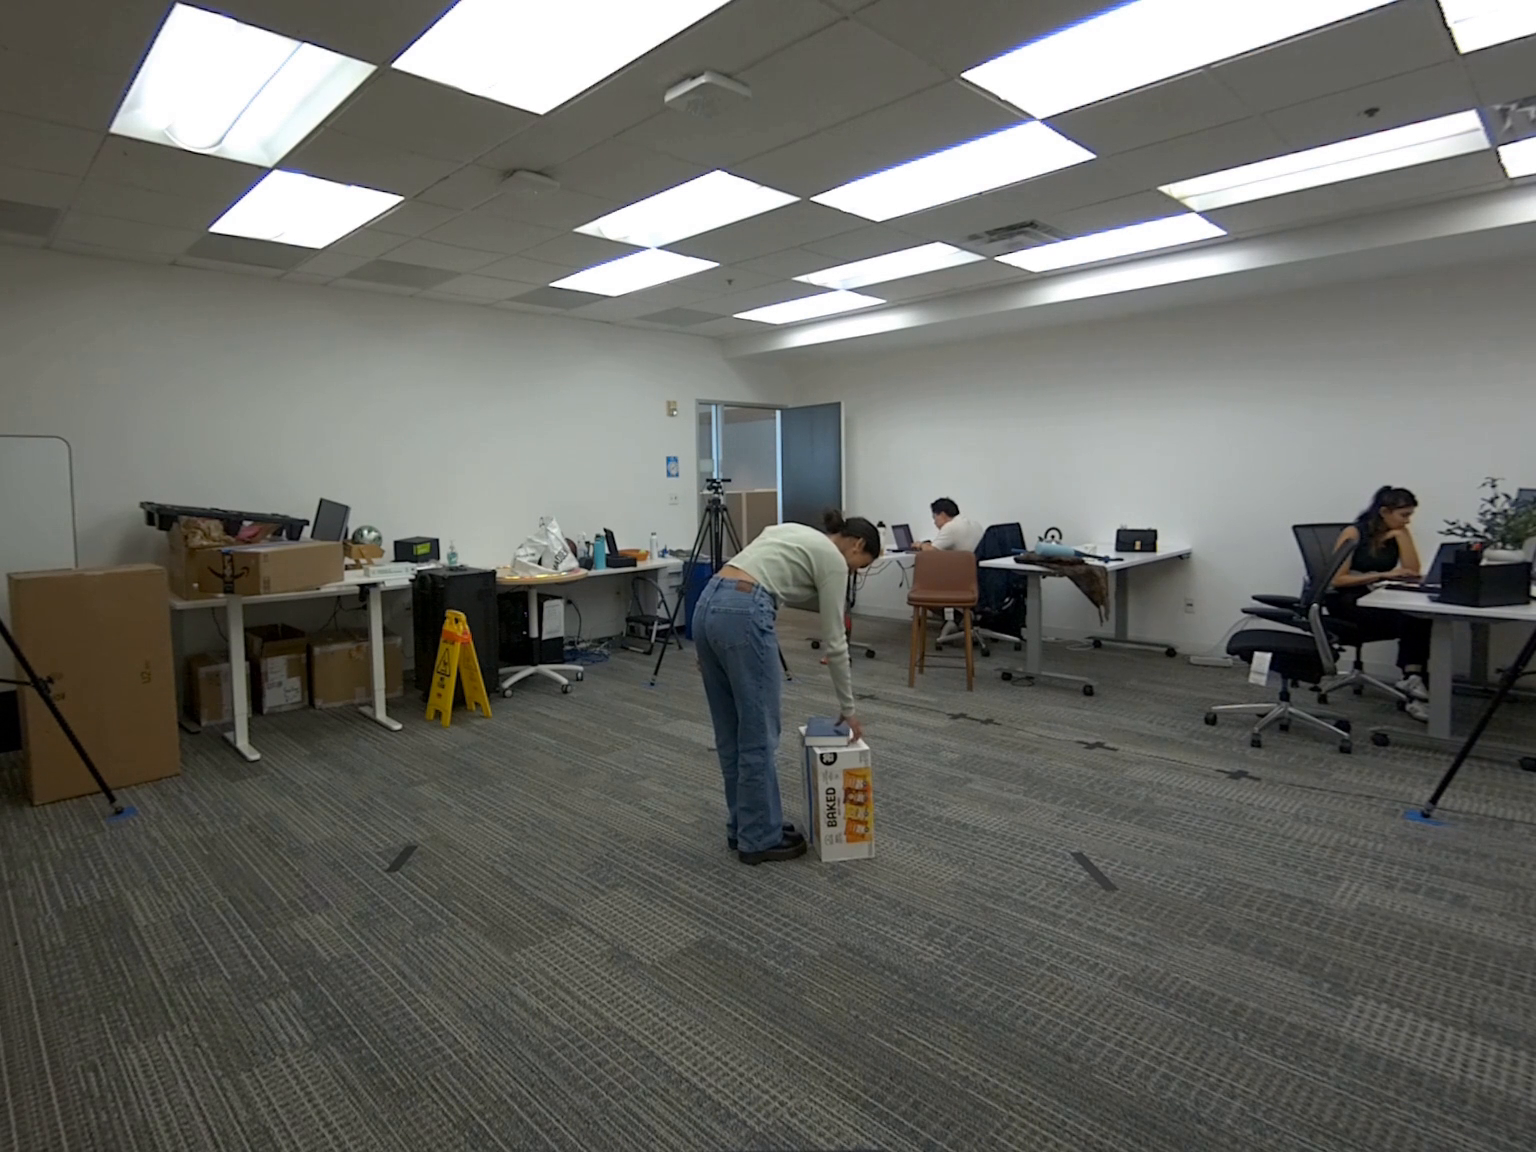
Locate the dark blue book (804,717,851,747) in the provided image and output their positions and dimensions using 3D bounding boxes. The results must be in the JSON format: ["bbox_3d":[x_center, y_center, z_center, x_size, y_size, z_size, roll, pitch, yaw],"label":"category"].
[{"bbox_3d":[0.221,0.596,3.280,0.165,0.045,0.244,-1,7,9],"label":"dark blue book"}]
